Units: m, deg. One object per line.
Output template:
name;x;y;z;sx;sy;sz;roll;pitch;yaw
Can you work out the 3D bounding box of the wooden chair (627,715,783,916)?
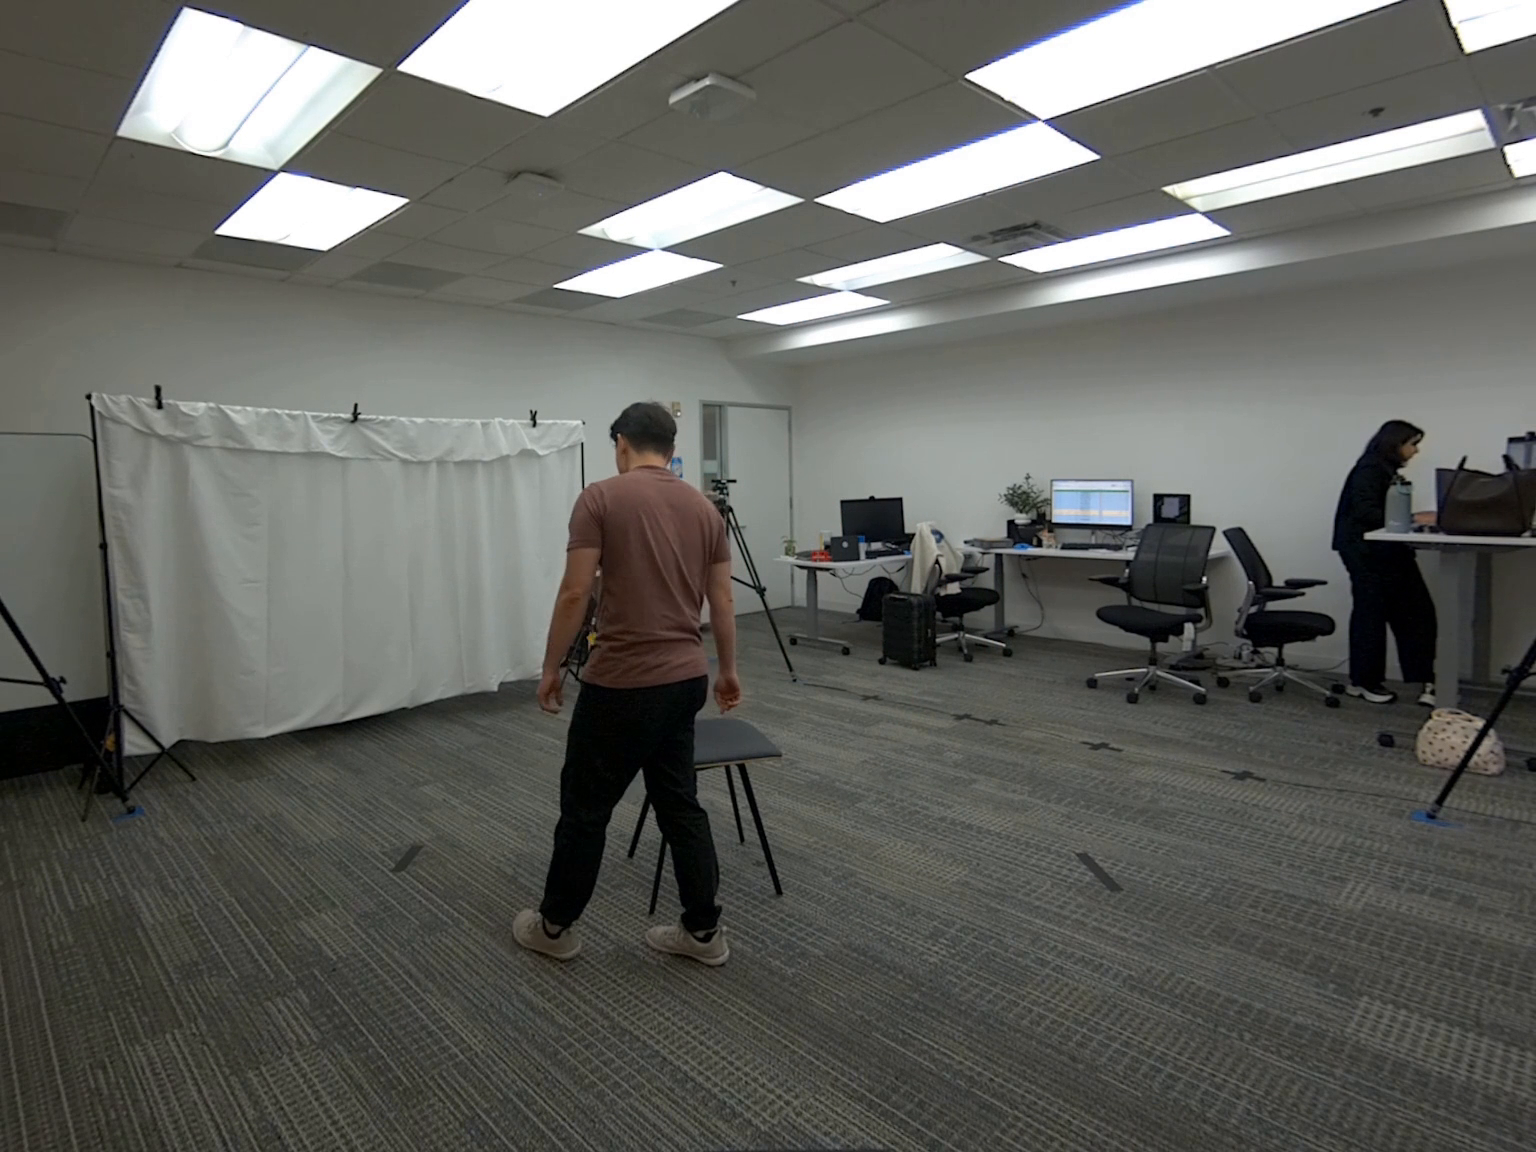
wooden chair;-0.233;0.638;2.997;0.516;0.873;0.487;-6;5;-16
